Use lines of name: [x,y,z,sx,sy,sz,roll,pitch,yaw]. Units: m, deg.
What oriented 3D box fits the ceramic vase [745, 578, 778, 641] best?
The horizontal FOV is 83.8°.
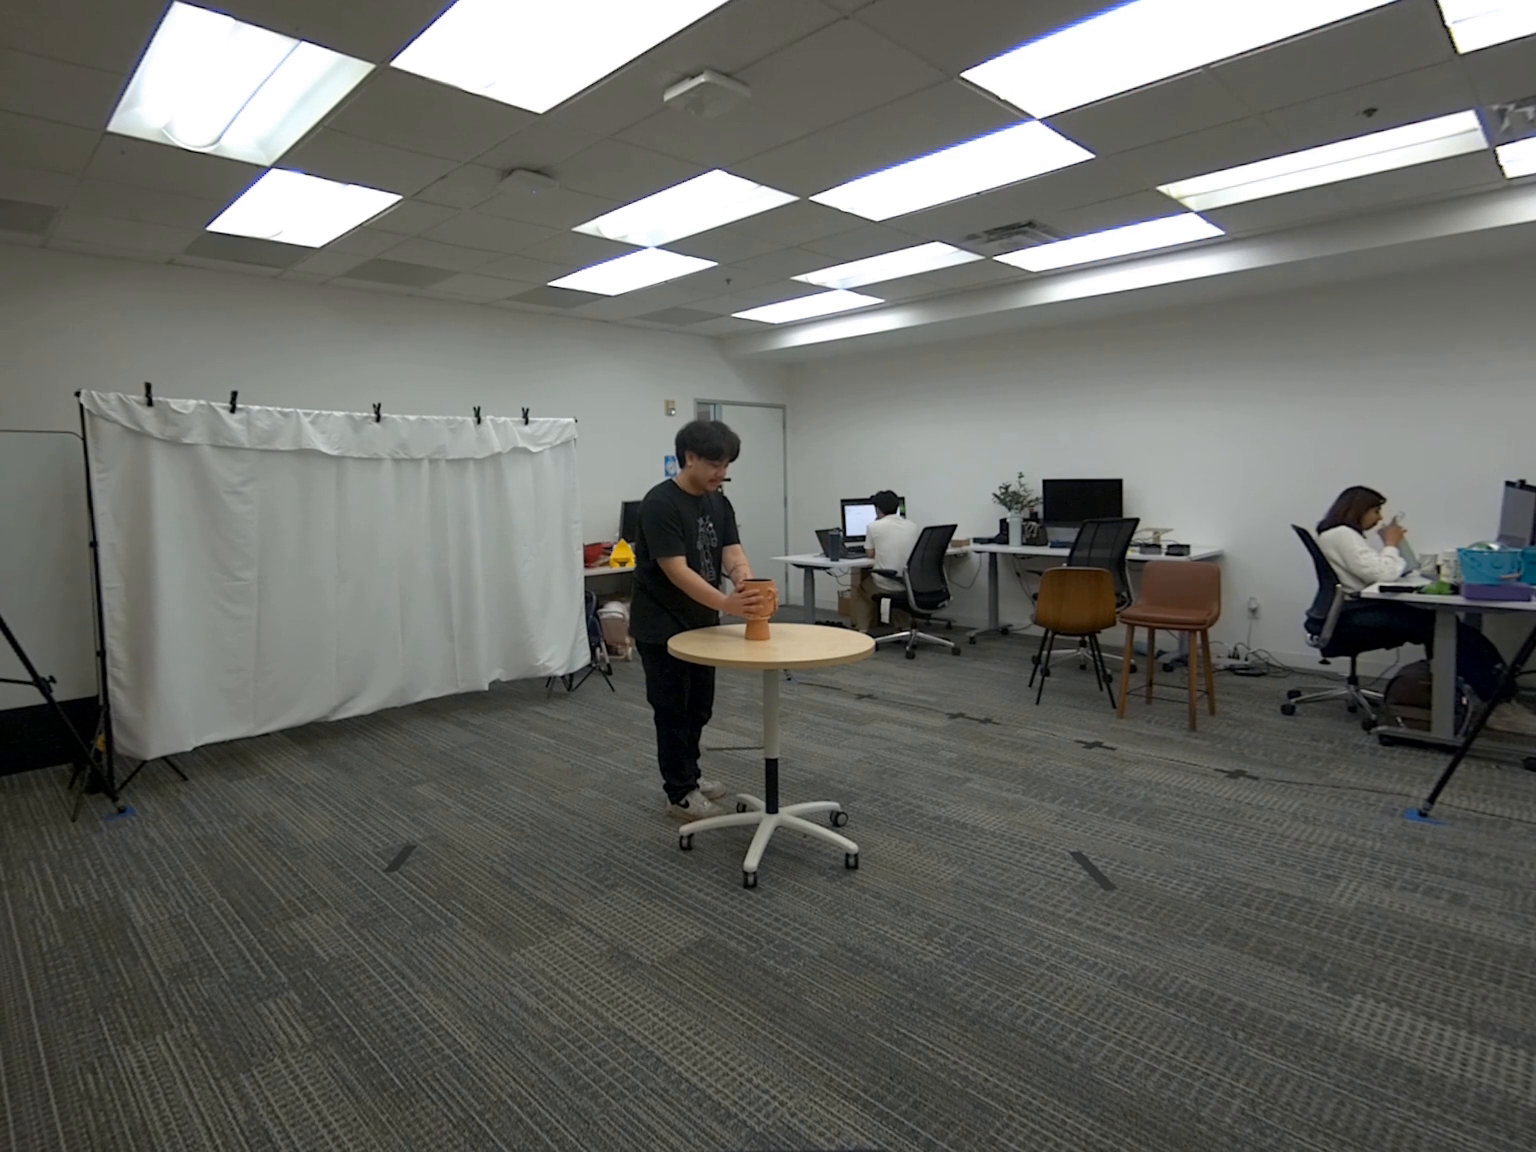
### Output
ceramic vase: [-0.044,0.129,3.217,0.135,0.219,0.159,-1,4,1]
